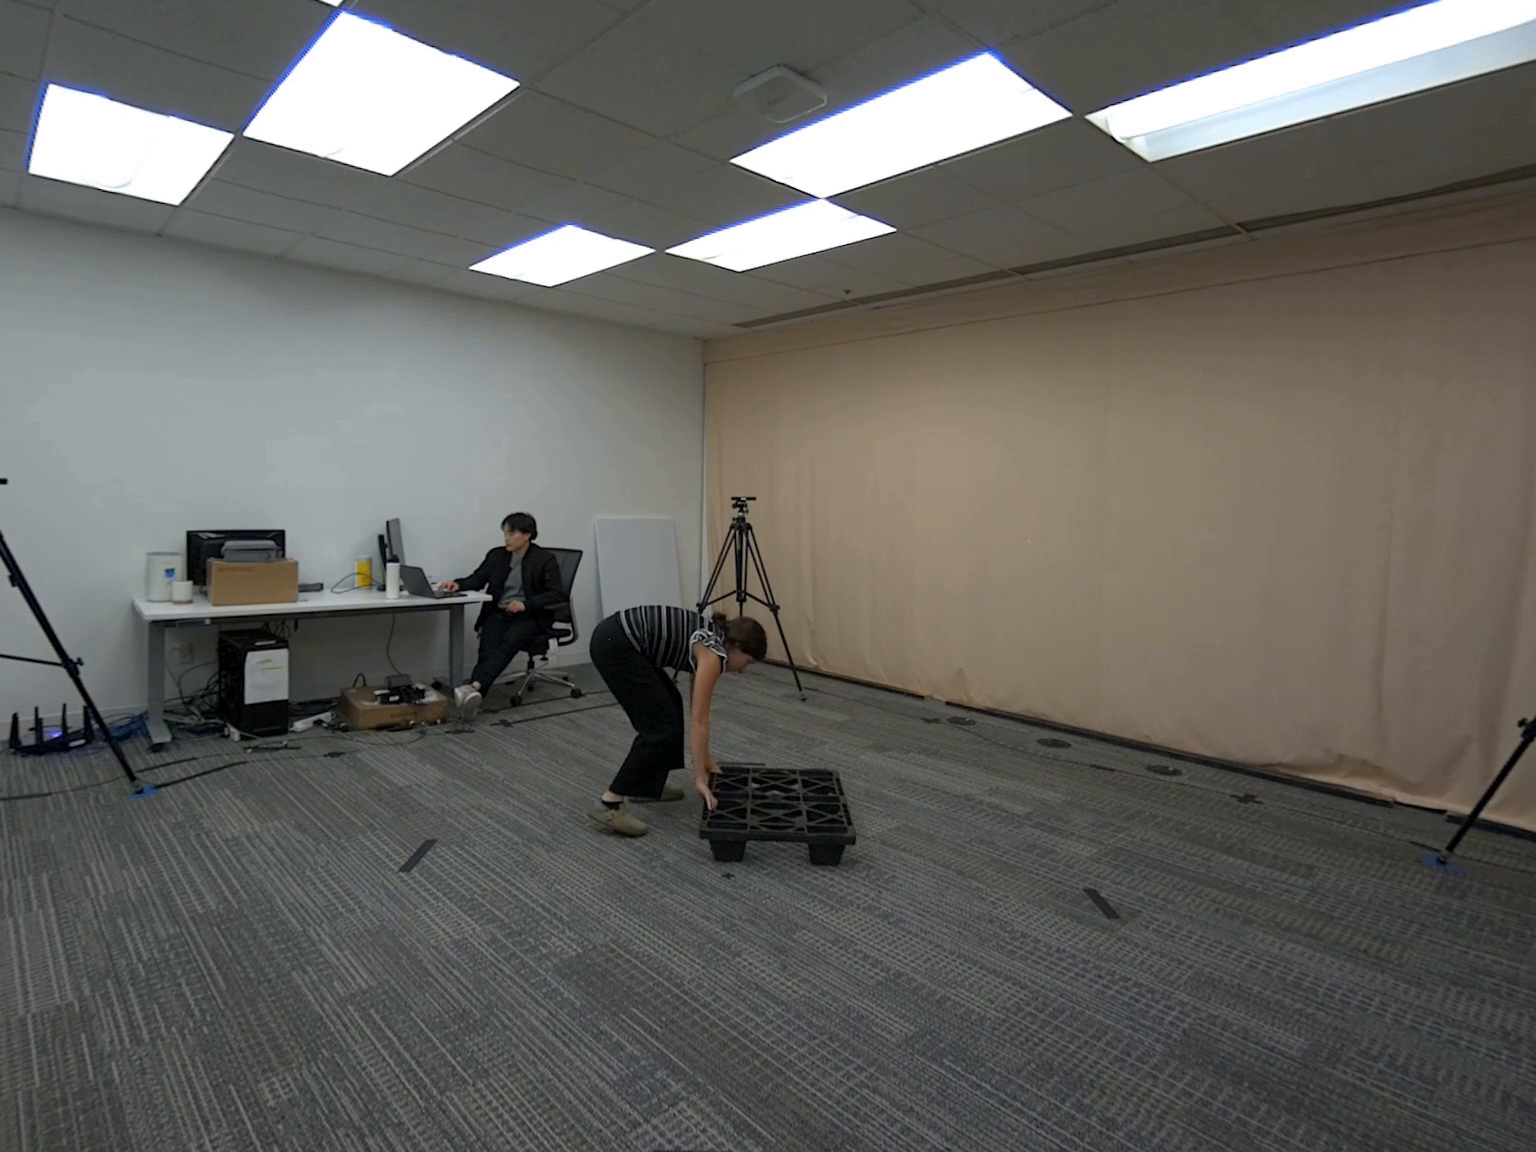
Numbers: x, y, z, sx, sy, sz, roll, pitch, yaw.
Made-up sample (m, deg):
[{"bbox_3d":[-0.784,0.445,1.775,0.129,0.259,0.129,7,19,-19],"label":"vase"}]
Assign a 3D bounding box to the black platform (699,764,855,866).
[{"bbox_3d":[0.024,1.002,3.572,0.606,0.143,0.807,2,5,0],"label":"black platform"}]
